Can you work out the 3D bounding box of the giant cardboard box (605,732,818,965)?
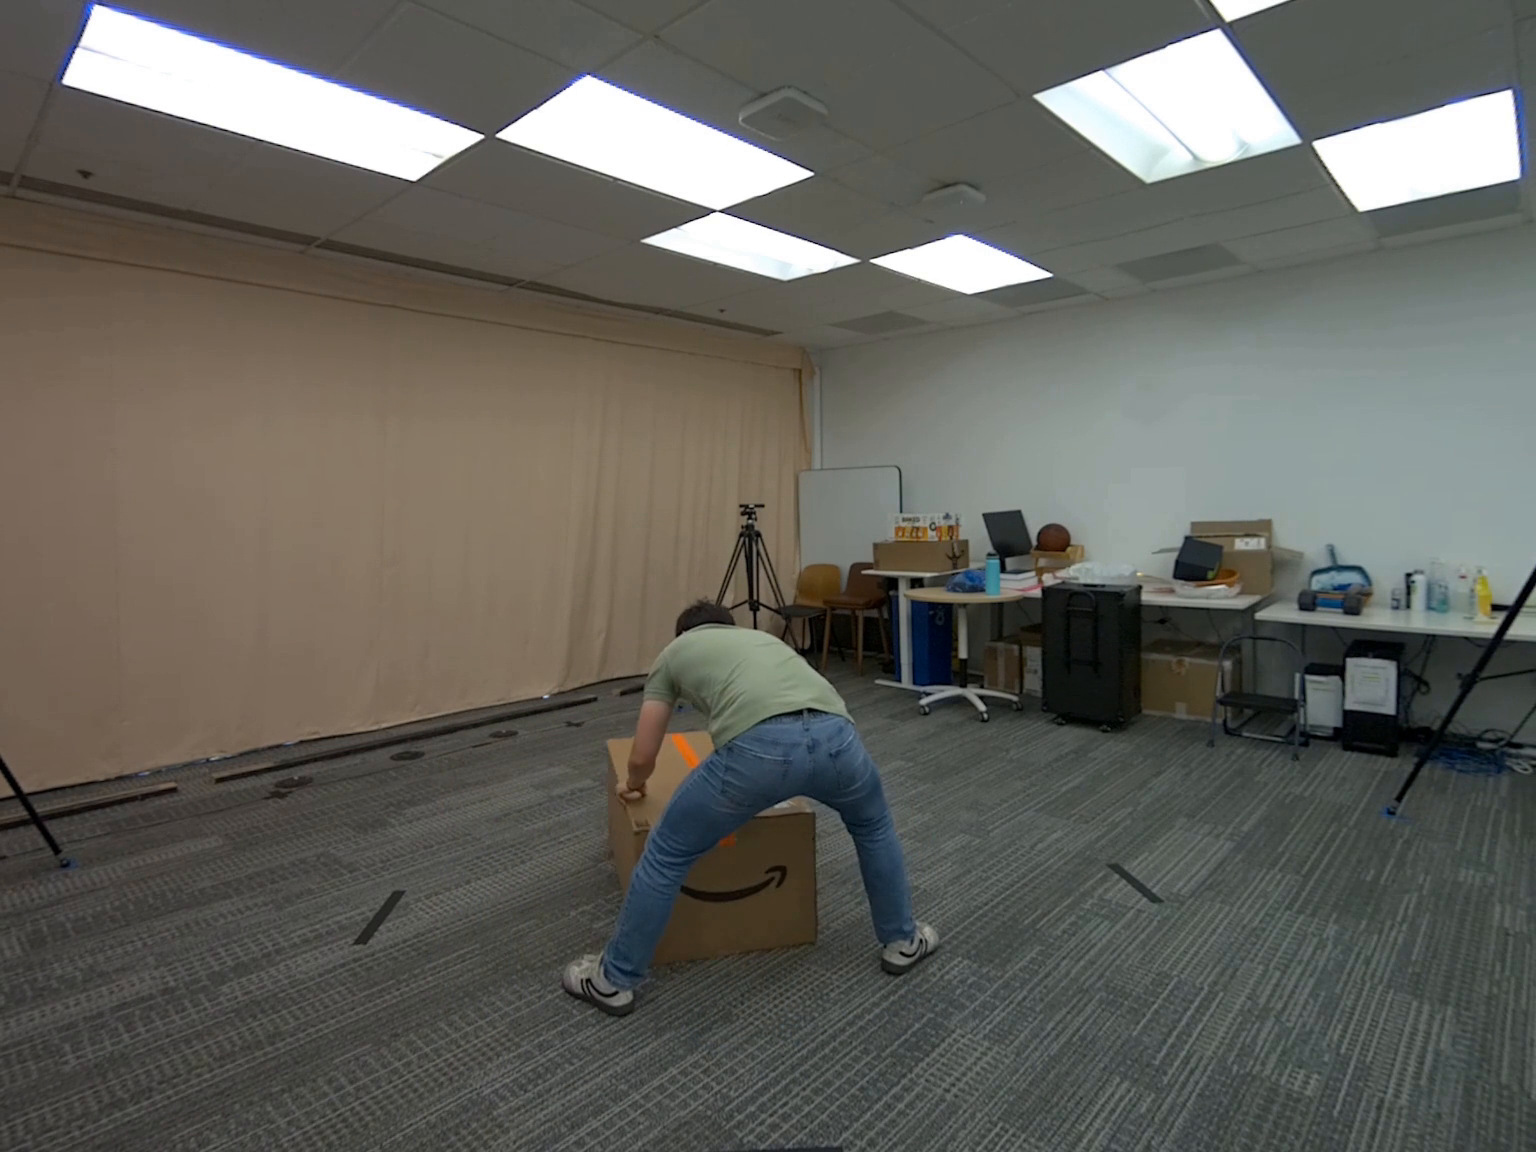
[{"bbox_3d":[-0.261,0.920,3.090,0.569,0.425,1.043,-2,5,-15],"label":"giant cardboard box"}]
